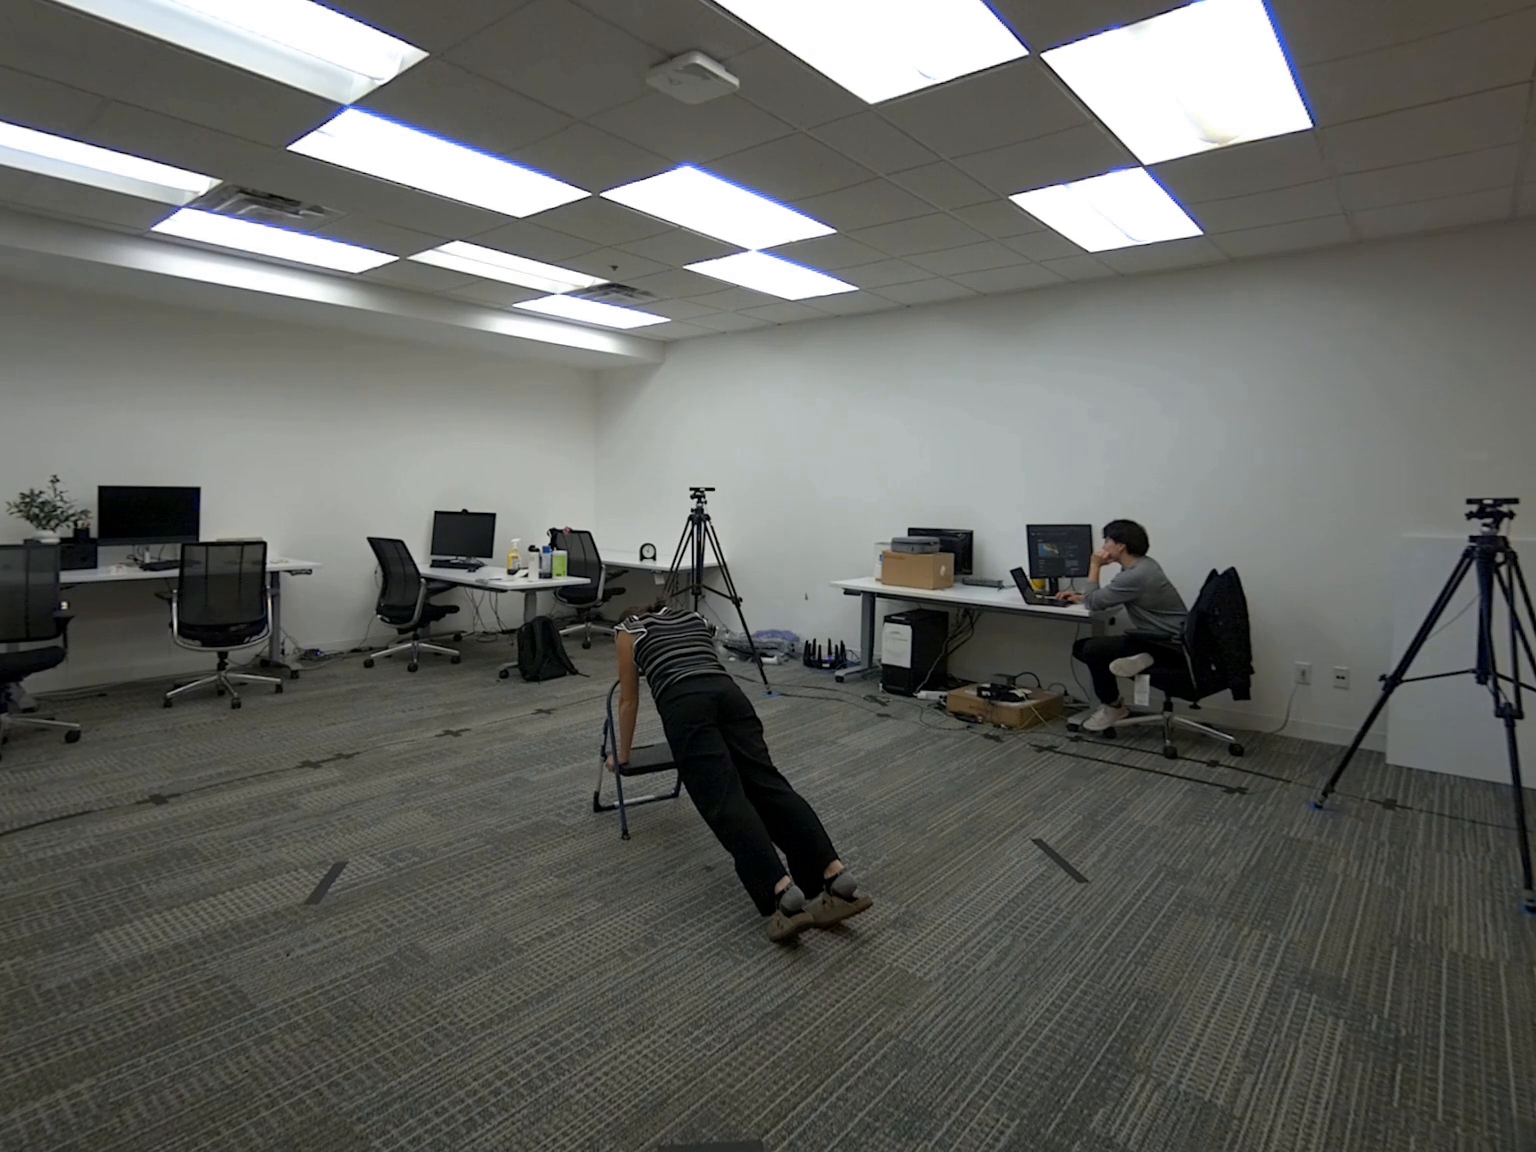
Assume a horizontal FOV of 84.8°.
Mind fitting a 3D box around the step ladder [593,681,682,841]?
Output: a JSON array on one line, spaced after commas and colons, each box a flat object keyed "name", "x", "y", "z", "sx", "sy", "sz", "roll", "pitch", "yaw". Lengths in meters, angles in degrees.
[{"name": "step ladder", "x": -0.496, "y": 0.713, "z": 3.593, "sx": 0.418, "sy": 0.605, "sz": 0.360, "roll": -1, "pitch": 3, "yaw": -33}]
